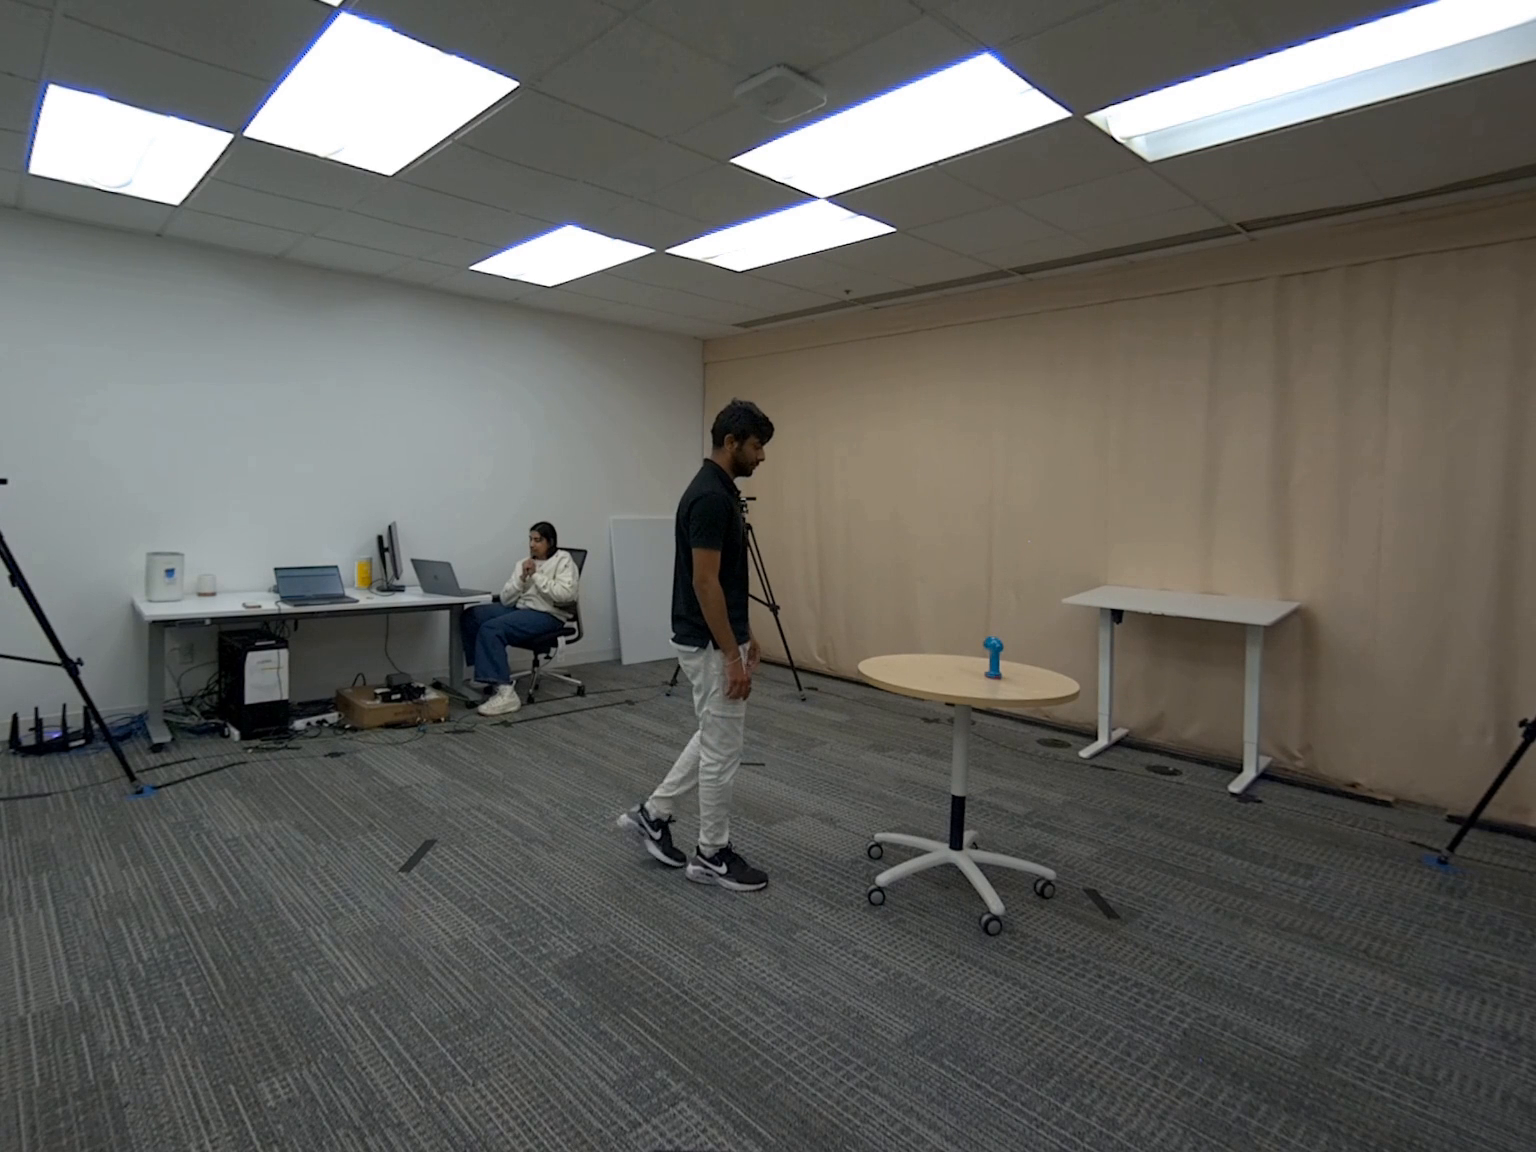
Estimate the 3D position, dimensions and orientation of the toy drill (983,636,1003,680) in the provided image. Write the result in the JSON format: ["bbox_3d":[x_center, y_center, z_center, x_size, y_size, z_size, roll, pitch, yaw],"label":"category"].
[{"bbox_3d":[0.791,0.281,3.024,0.061,0.145,0.171,2,4,-6],"label":"toy drill"}]
